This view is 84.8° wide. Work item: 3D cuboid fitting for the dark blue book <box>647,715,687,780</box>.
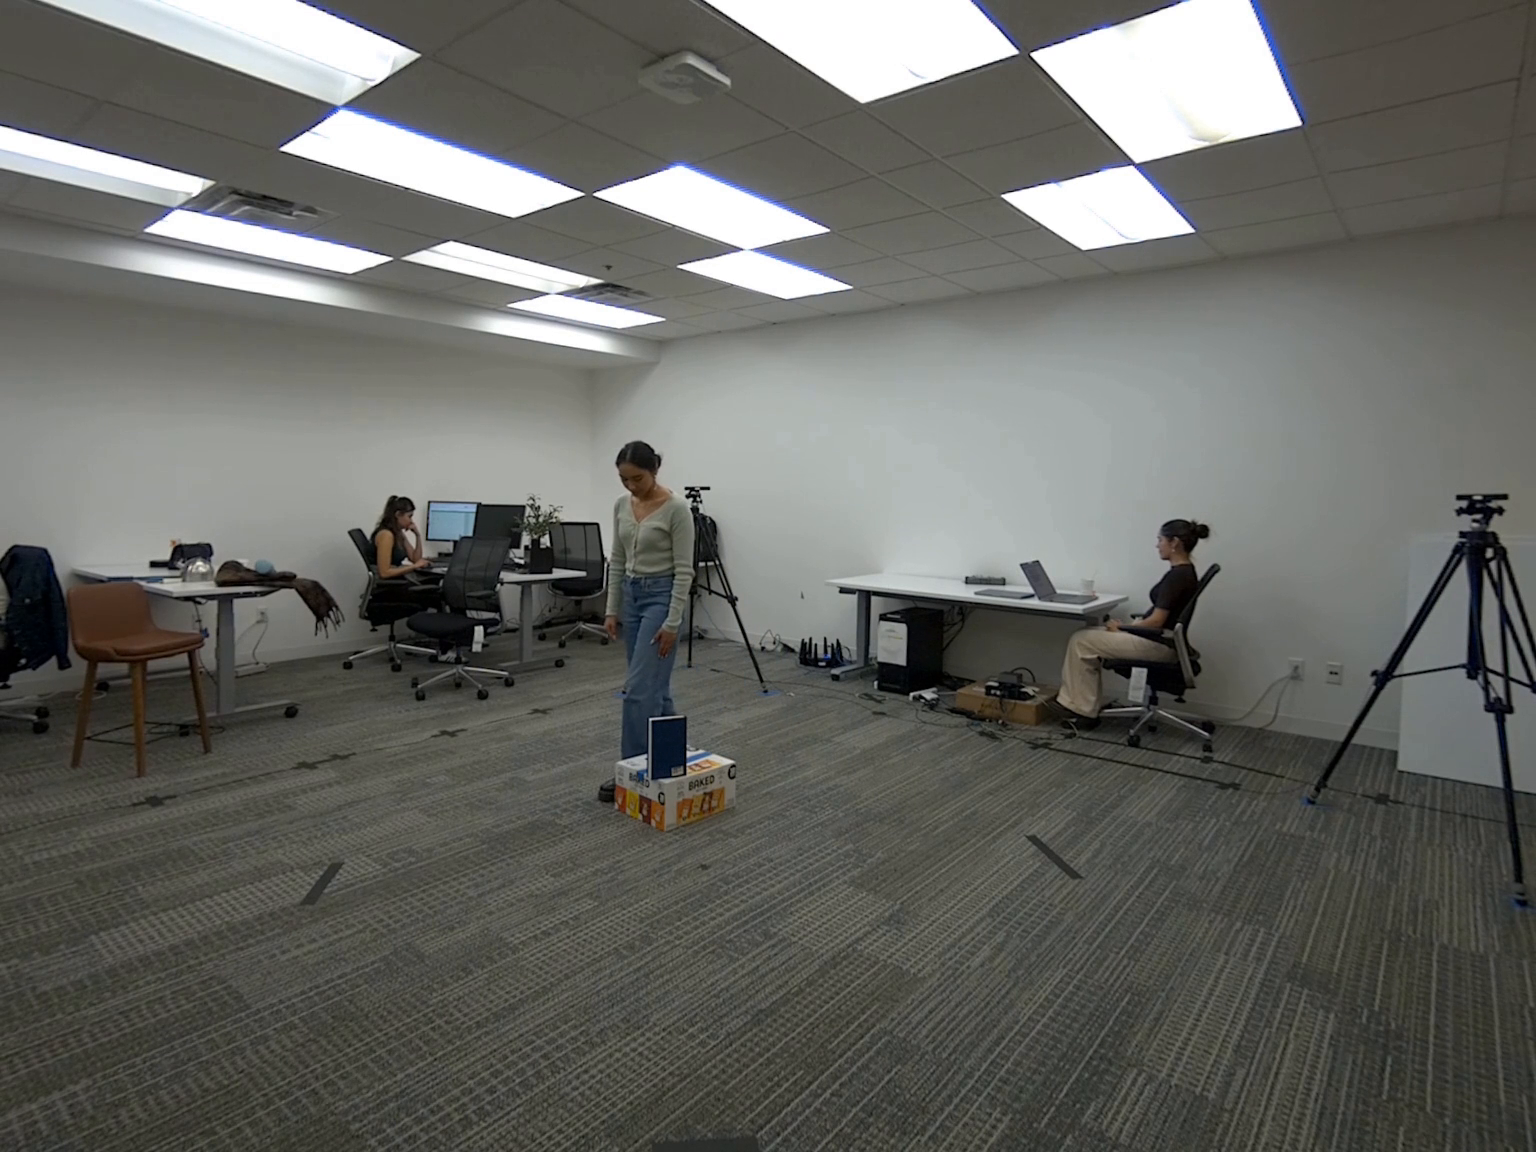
[{"bbox_3d":[-0.423,0.702,3.507,0.159,0.245,0.046,0,1,-29],"label":"dark blue book"}]
